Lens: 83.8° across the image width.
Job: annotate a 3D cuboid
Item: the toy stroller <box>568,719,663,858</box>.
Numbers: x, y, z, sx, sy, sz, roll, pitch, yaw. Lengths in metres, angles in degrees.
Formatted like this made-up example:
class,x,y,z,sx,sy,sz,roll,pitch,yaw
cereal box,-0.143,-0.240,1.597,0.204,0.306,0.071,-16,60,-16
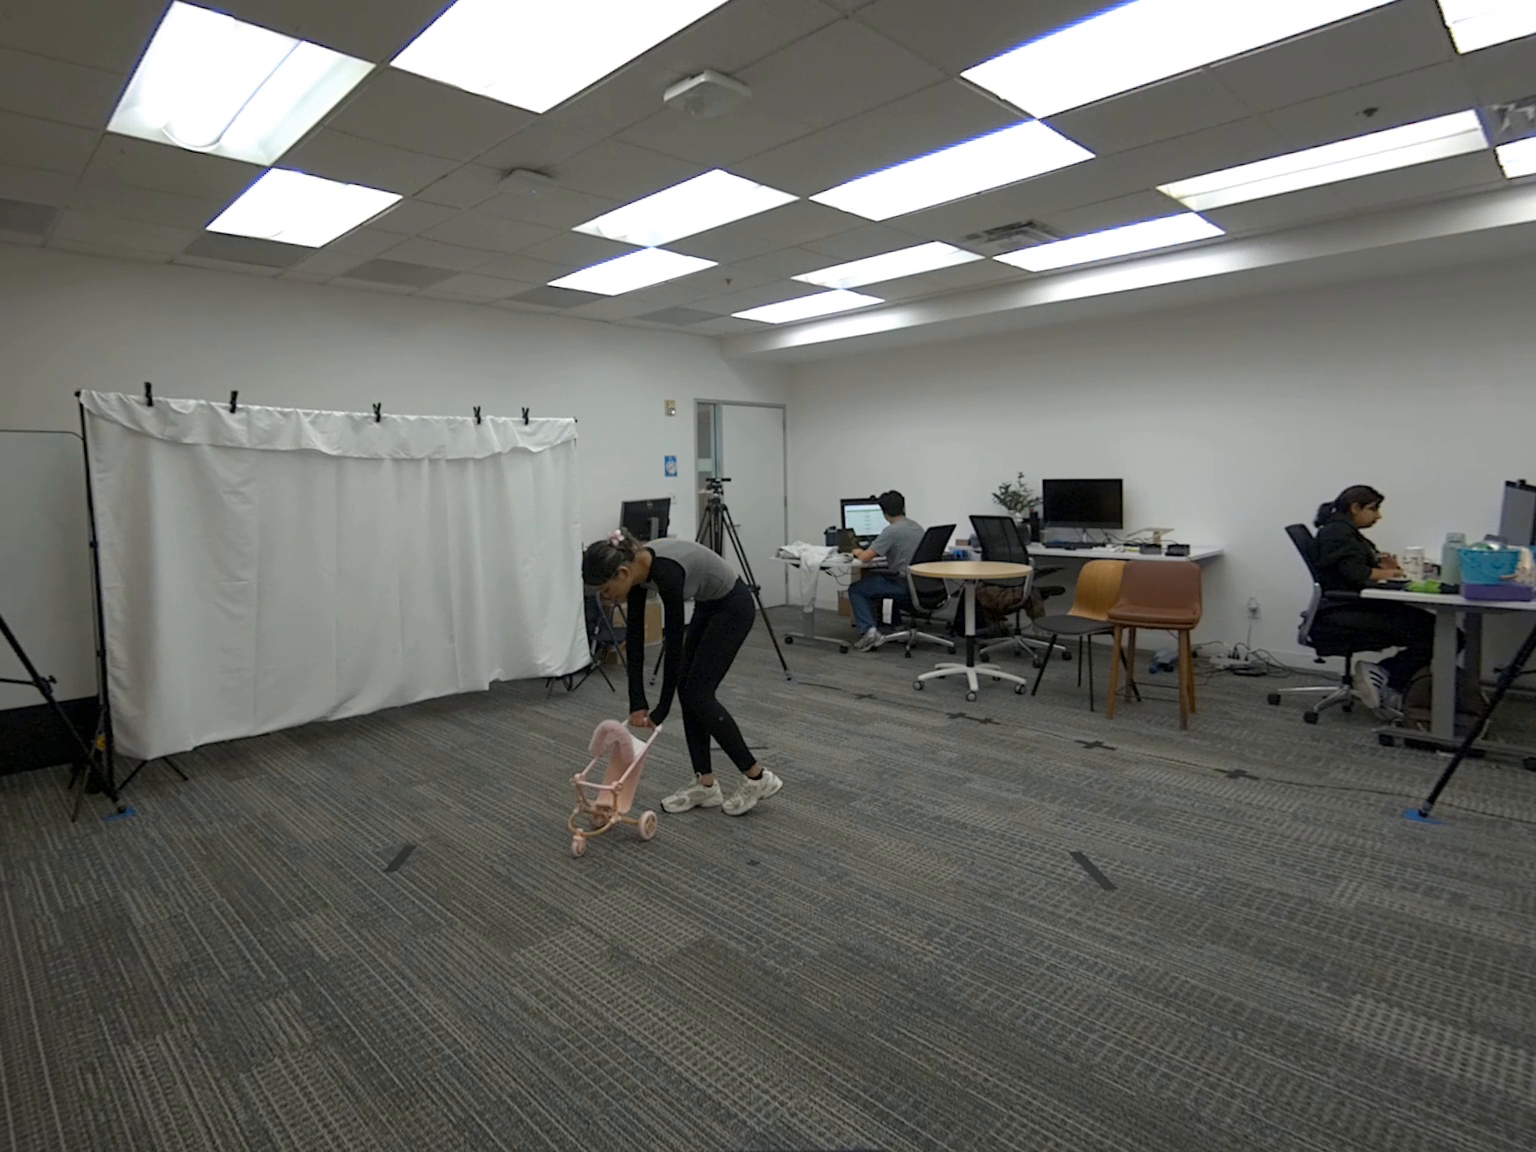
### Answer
class,x,y,z,sx,sy,sz,roll,pitch,yaw
toy stroller,-0.615,0.802,3.333,0.289,0.539,0.329,0,-13,36
